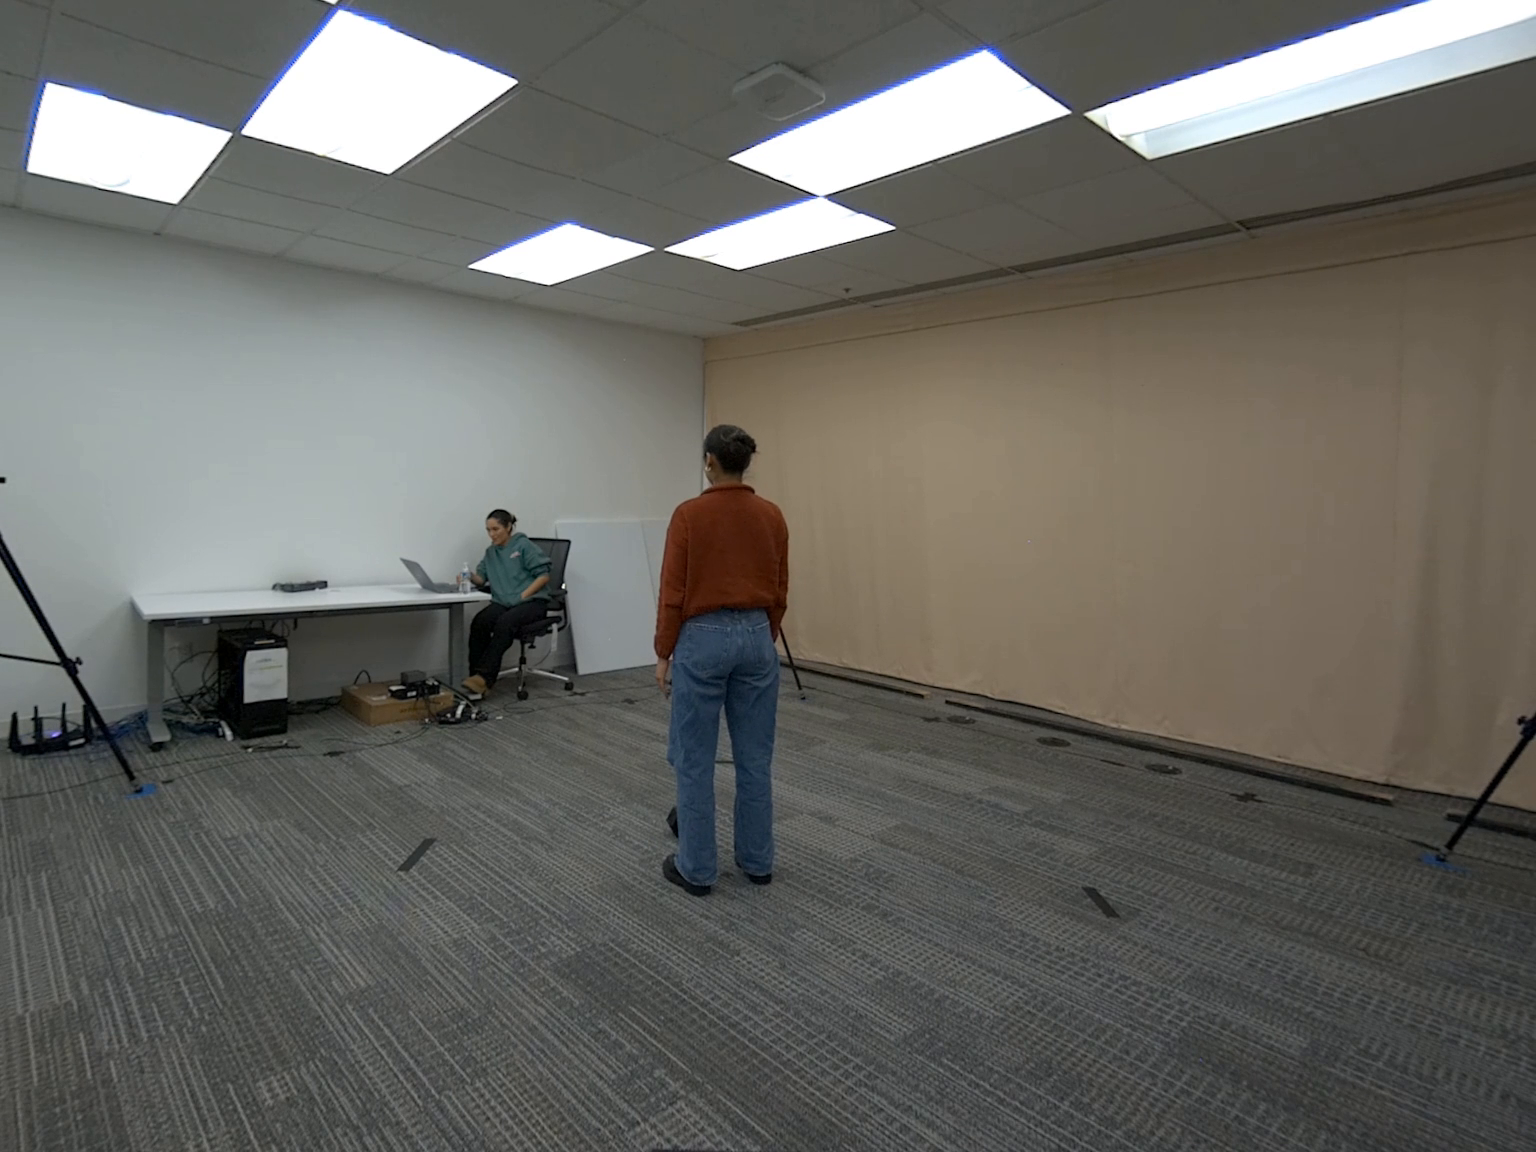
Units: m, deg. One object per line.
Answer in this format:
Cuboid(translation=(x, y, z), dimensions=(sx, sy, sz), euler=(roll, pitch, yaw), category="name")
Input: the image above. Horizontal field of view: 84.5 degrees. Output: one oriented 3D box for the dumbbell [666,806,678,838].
Cuboid(translation=(-0.323, 1.026, 3.367), dimensions=(0.106, 0.123, 0.299), euler=(32, -5, -20), category="dumbbell")
